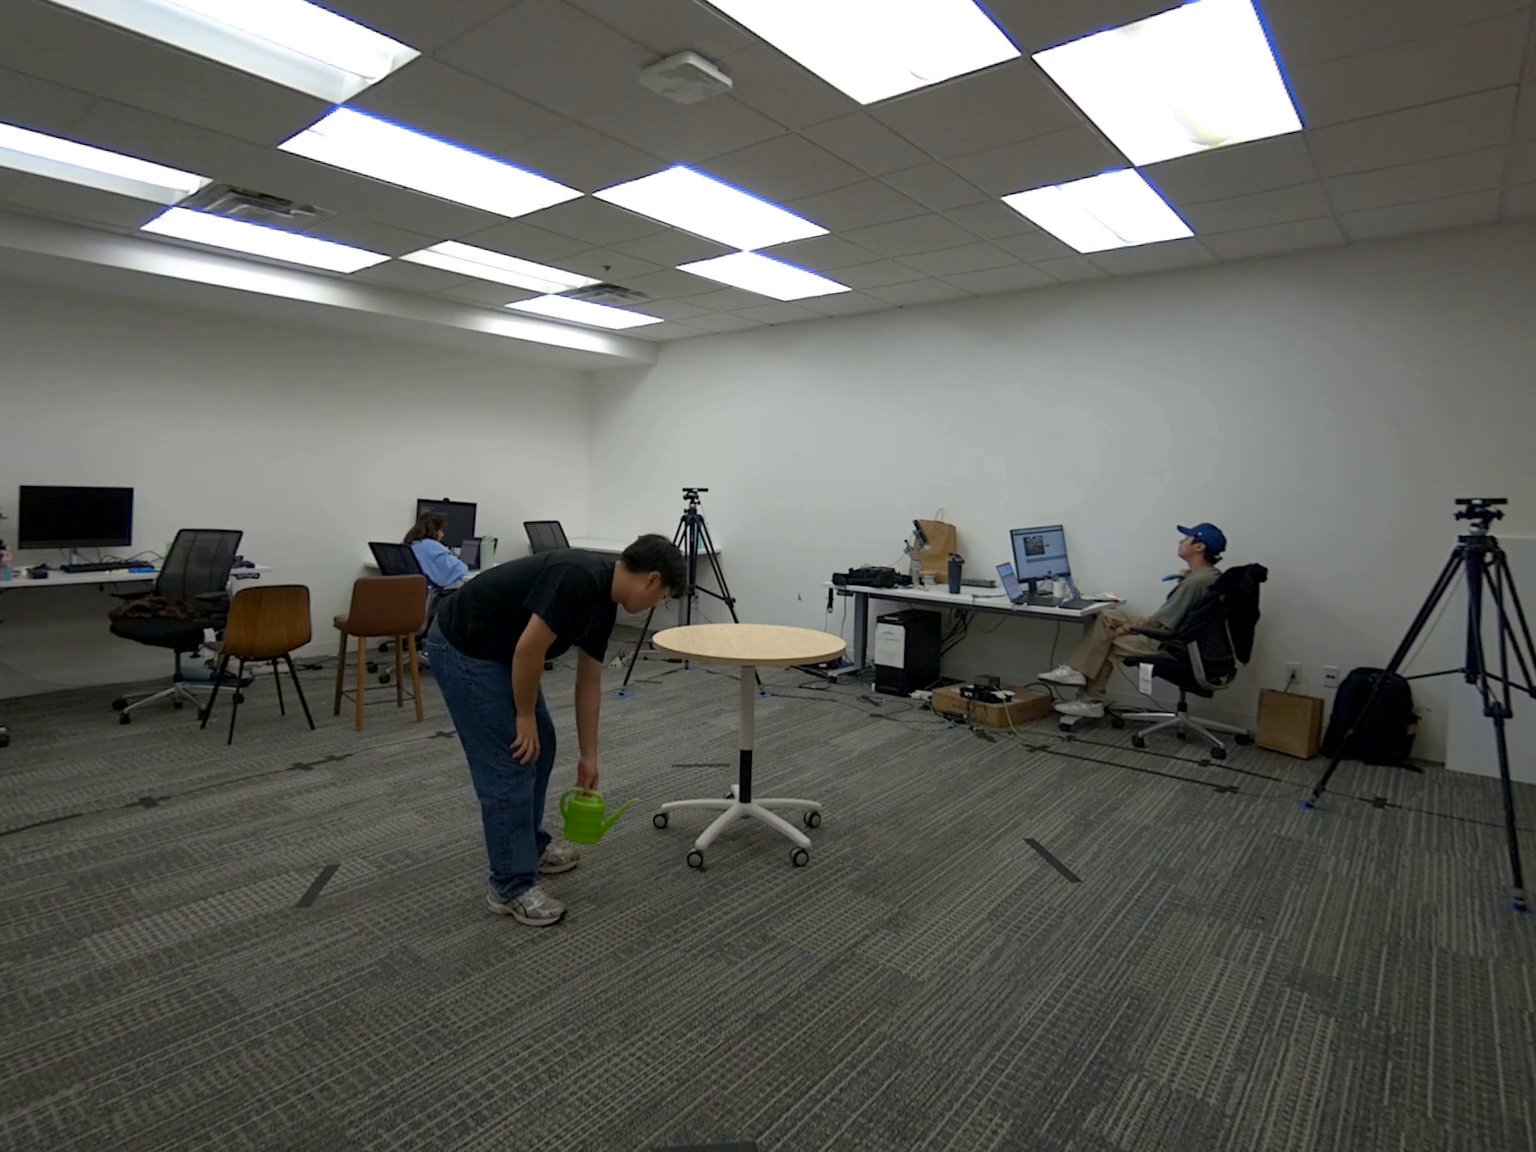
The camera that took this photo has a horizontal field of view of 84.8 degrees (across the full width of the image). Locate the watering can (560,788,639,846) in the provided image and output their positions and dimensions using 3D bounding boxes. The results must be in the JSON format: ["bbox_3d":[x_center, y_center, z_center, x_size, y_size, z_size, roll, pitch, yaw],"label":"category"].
[{"bbox_3d":[-0.605,0.832,2.959,0.284,0.177,0.096,8,2,16],"label":"watering can"}]
